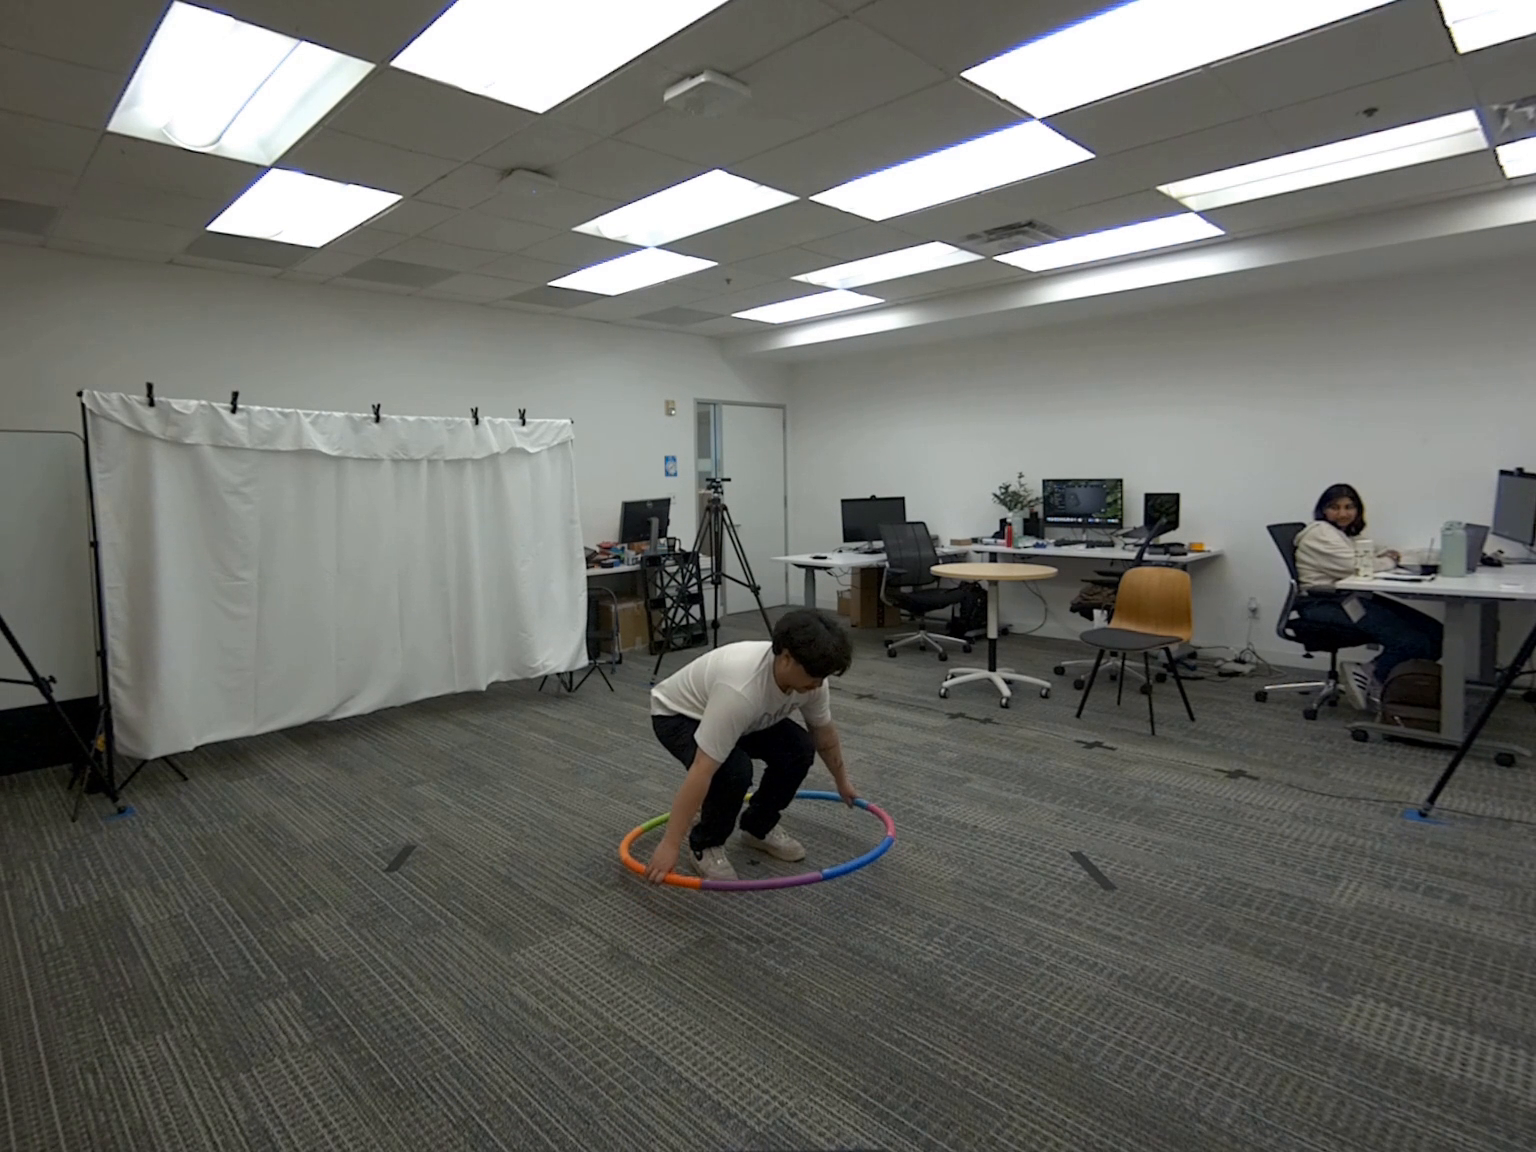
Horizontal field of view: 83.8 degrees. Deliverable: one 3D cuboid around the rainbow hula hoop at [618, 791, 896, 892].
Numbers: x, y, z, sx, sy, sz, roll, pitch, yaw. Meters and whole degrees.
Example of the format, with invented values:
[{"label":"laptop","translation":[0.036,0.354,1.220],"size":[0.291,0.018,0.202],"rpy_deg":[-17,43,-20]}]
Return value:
[{"label":"rainbow hula hoop","translation":[-0.040,0.917,3.064],"size":[0.984,0.051,0.986],"rpy_deg":[-6,1,-2]}]
